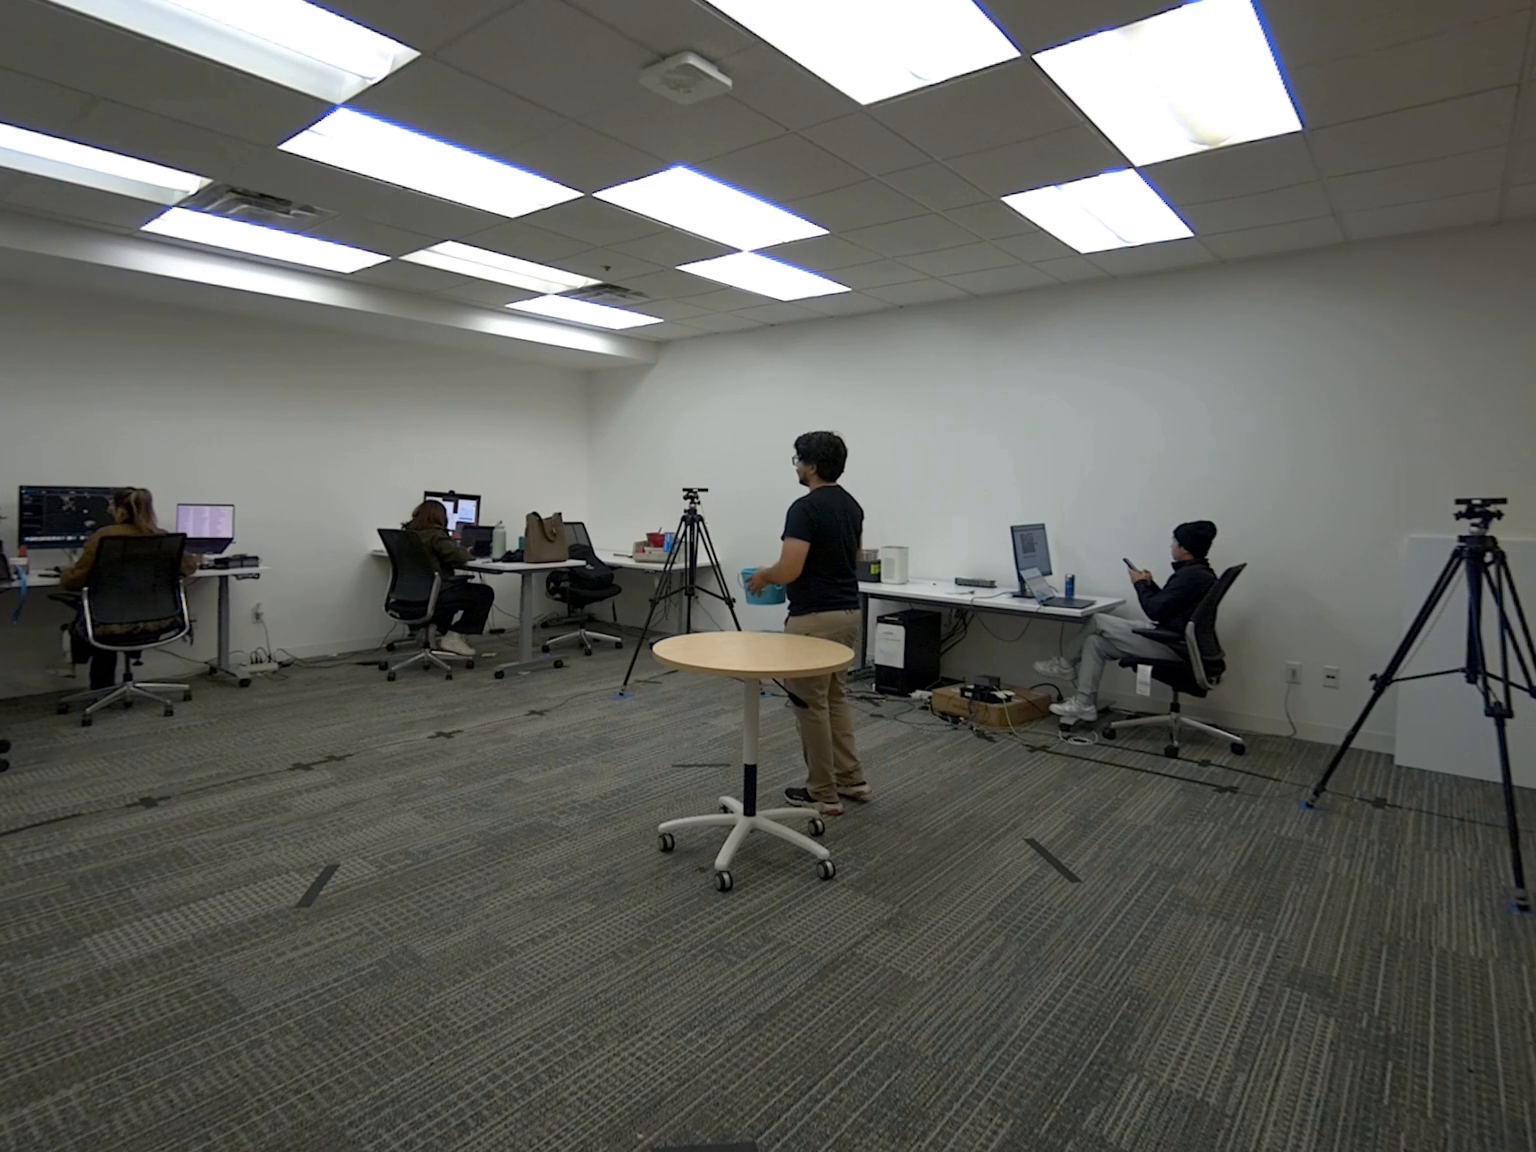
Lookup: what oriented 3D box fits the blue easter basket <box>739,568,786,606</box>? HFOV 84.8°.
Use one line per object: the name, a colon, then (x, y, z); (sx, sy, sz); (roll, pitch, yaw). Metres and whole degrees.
blue easter basket: (-0.004, 0.045, 3.950); (0.243, 0.155, 0.245); (-2, 6, -2)
